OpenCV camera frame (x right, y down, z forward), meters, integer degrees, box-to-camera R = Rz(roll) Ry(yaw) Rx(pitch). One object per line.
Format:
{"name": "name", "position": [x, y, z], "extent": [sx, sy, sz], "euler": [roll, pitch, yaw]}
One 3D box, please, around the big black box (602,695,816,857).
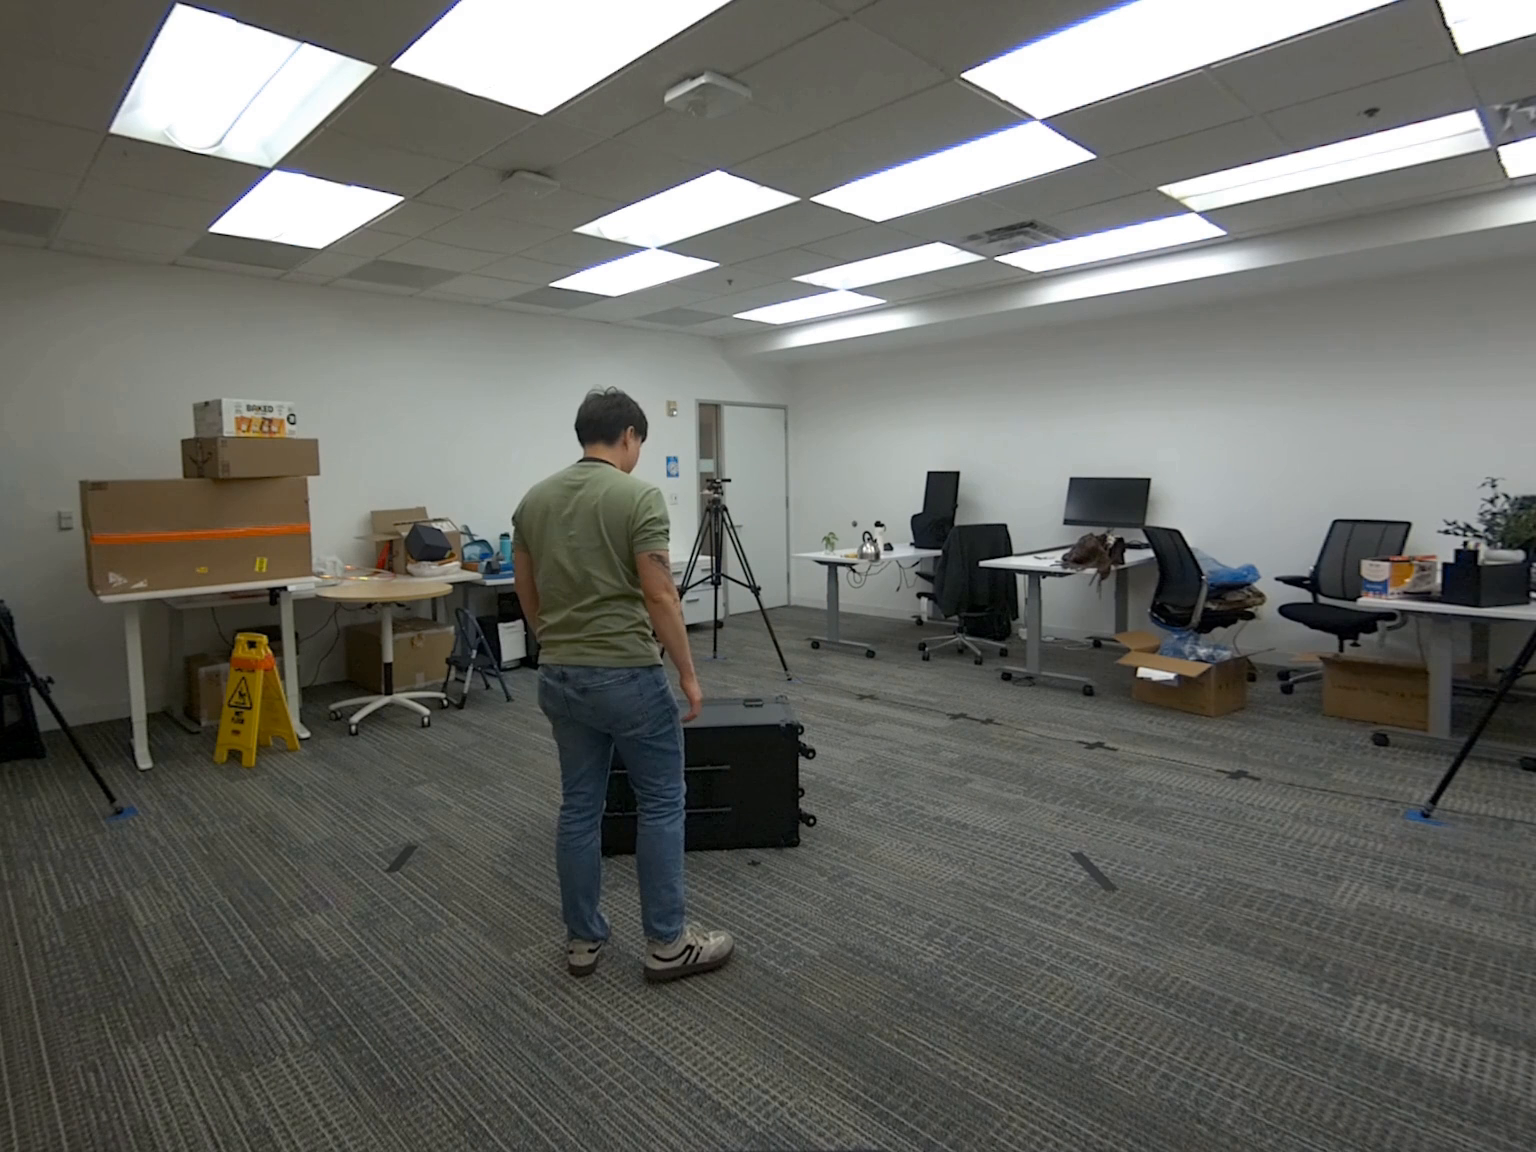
{"name": "big black box", "position": [-0.256, 0.763, 3.345], "extent": [0.857, 0.518, 0.400], "euler": [-2, 7, -5]}
